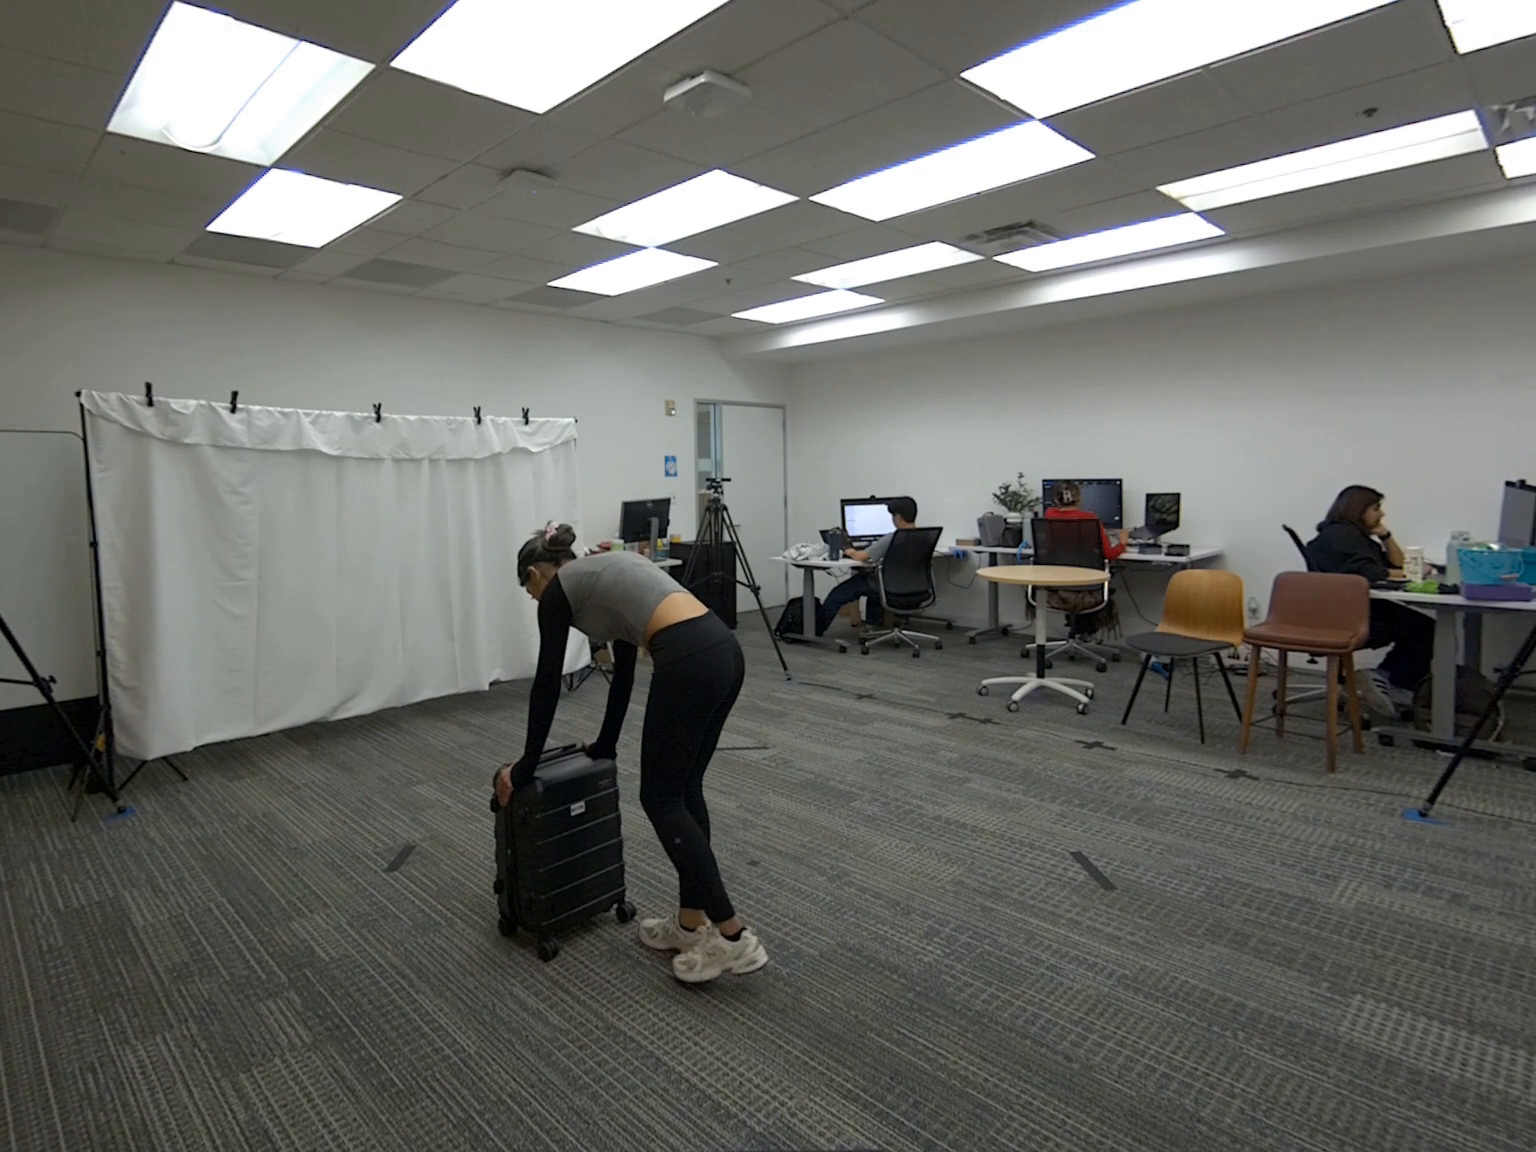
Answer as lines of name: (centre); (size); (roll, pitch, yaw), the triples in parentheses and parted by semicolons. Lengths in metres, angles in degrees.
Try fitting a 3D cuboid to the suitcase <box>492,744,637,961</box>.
suitcase: (-0.650, 0.831, 2.690); (0.255, 0.548, 0.365); (0, 4, 43)
